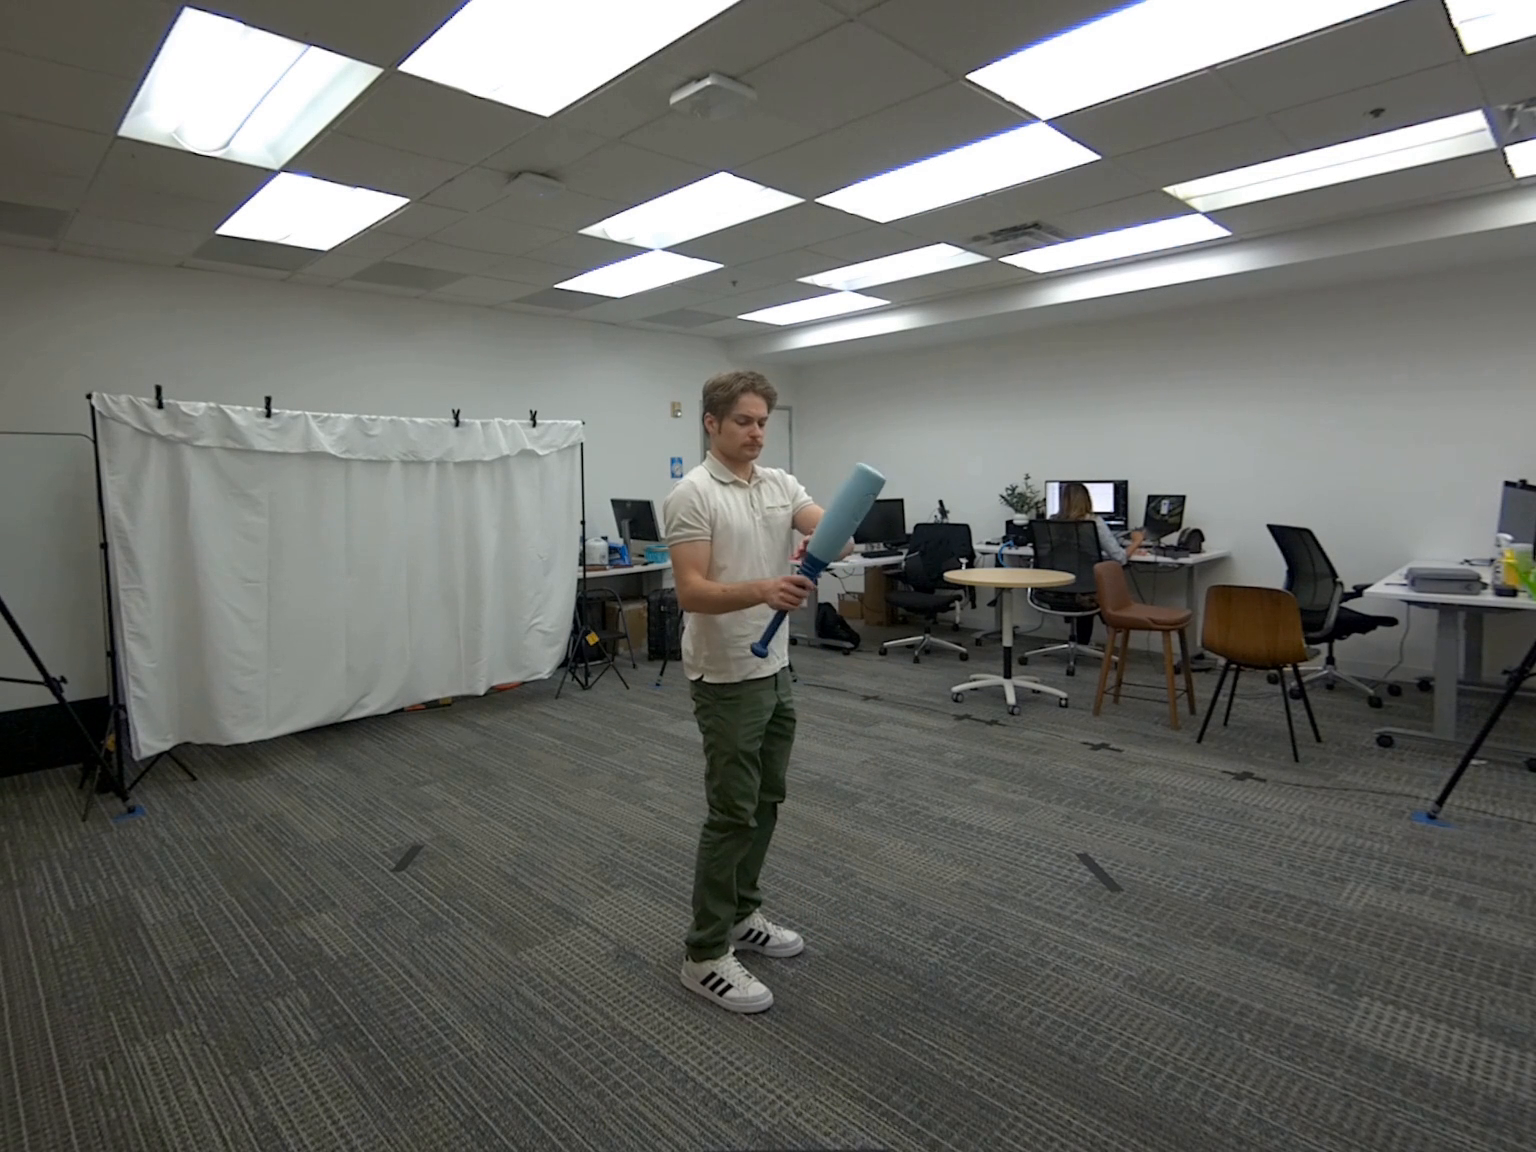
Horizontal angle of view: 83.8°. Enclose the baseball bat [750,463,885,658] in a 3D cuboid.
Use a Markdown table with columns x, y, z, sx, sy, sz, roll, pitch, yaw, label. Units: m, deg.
| x | y | z | sx | sy | sz | roll | pitch | yaw | label |
| --- | --- | --- | --- | --- | --- | --- | --- | --- | --- |
| 0.125 | -0.025 | 2.087 | 0.088 | 0.541 | 0.090 | 29 | 9 | -8 | baseball bat |
